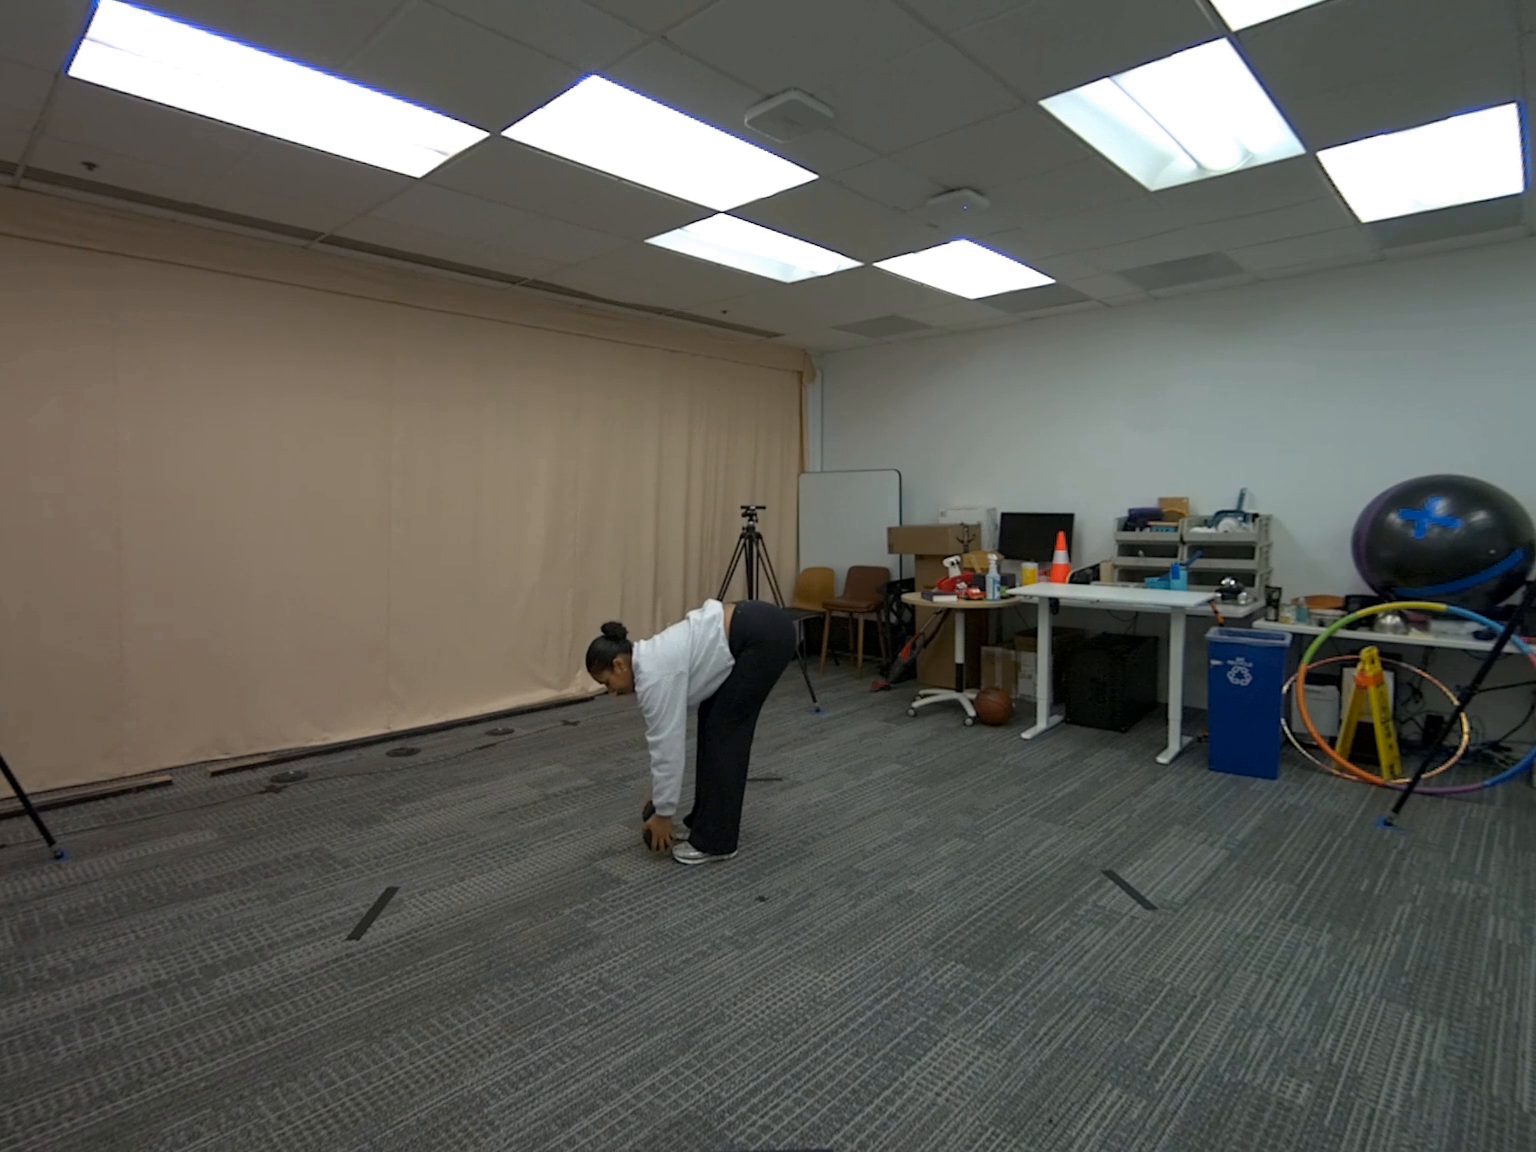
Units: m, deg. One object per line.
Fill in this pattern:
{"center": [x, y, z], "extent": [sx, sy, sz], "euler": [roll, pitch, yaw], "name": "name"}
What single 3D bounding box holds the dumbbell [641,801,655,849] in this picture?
{"center": [-0.441, 1.013, 3.423], "extent": [0.108, 0.123, 0.296], "euler": [37, -2, -9], "name": "dumbbell"}
